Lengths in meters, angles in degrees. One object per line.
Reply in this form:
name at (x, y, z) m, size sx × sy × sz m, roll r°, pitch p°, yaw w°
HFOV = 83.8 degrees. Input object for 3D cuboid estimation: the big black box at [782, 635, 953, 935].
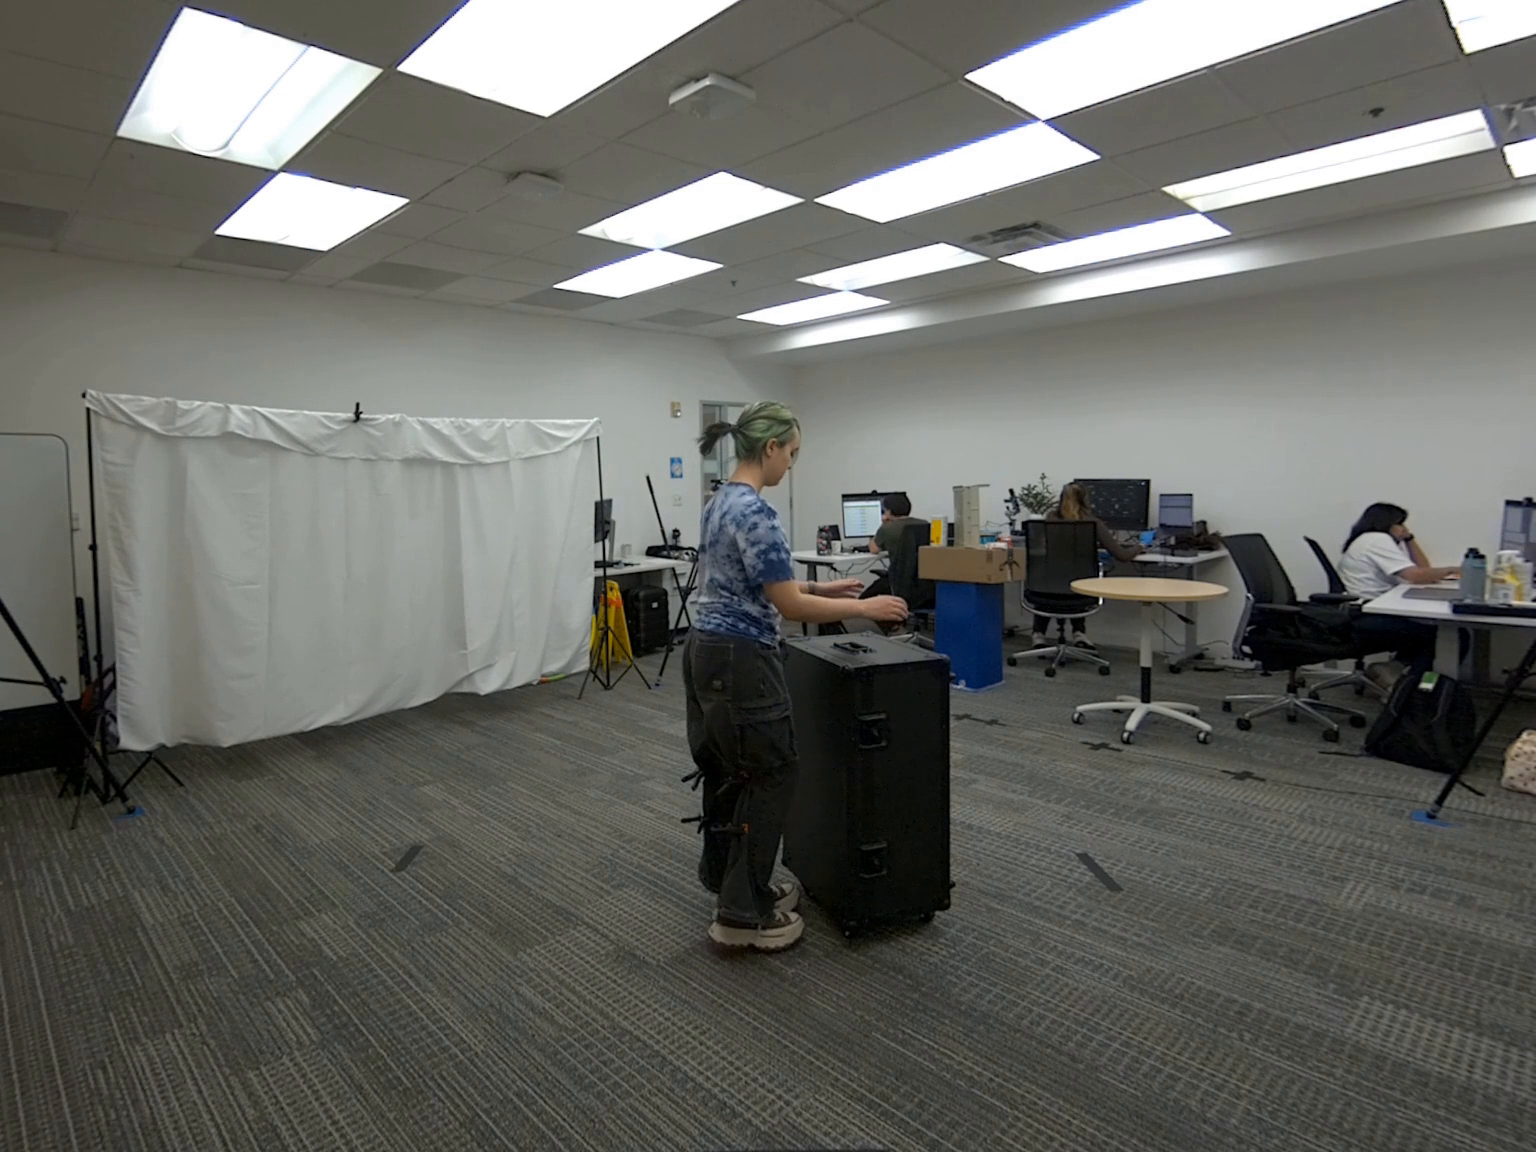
big black box at (0.314, 0.593, 2.758) m, size 0.389 × 0.859 × 0.533 m, roll -3°, pitch 4°, yaw -22°
